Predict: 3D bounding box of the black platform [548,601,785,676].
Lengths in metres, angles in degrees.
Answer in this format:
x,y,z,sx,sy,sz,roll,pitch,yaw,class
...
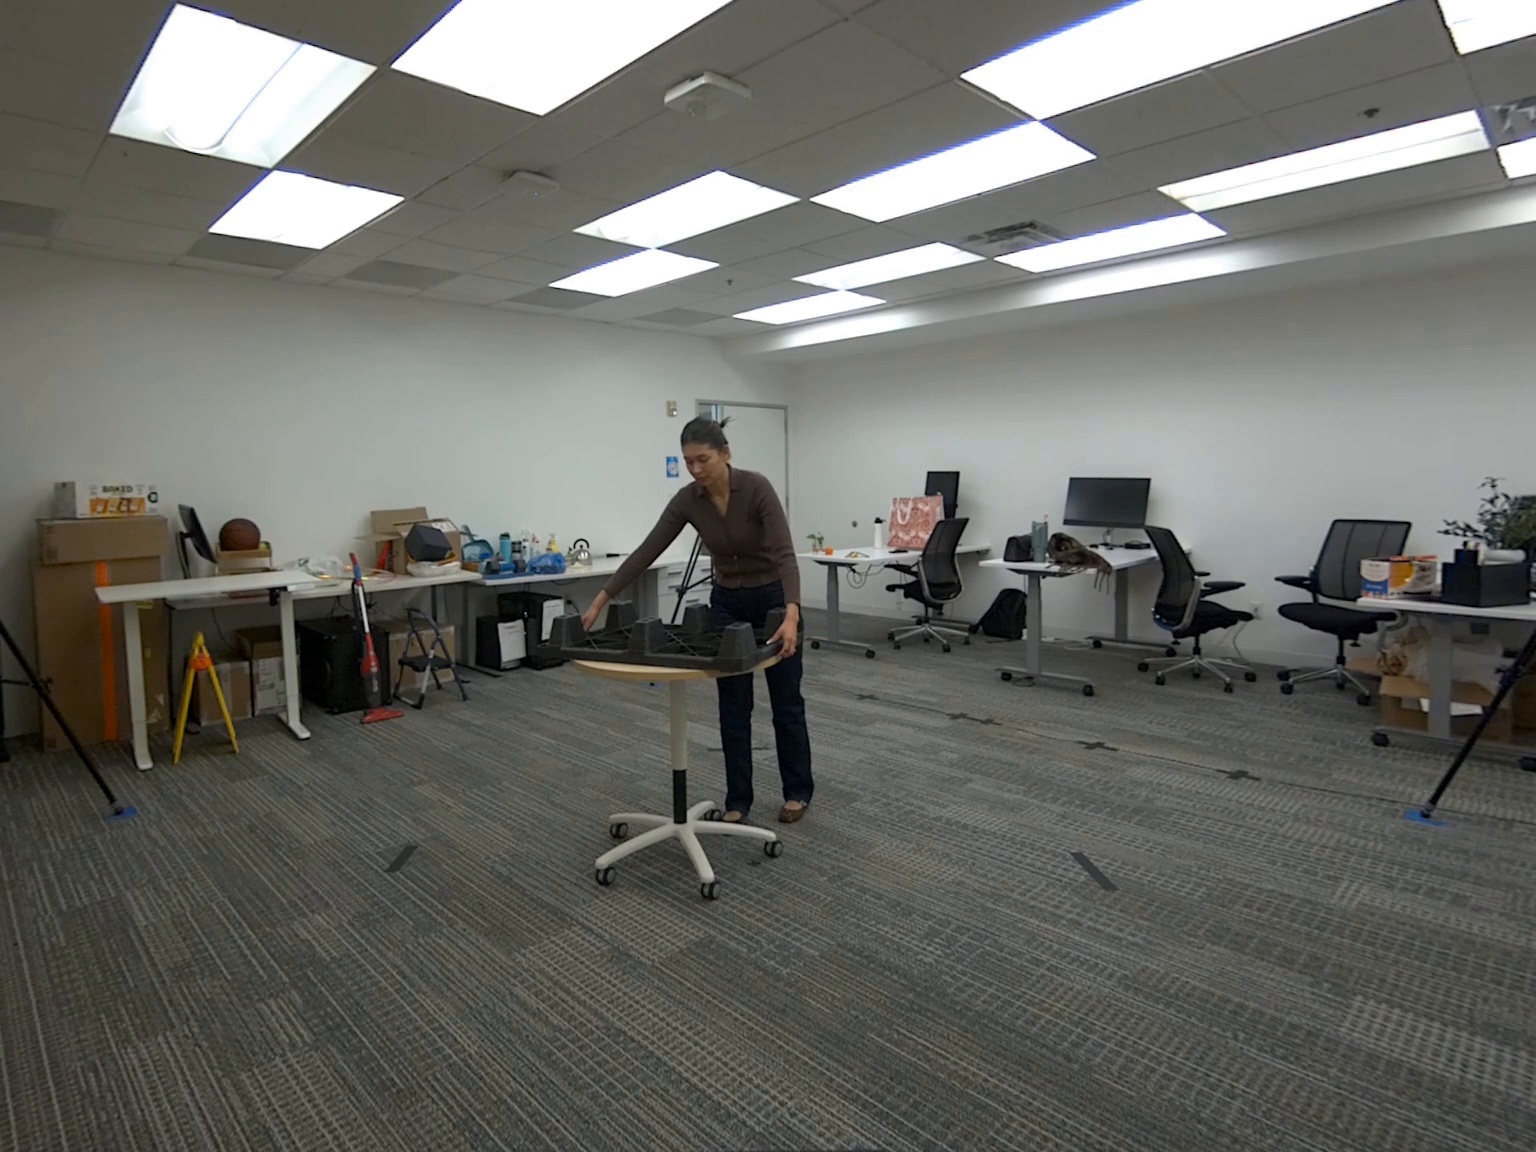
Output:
x,y,z,sx,sy,sz,roll,pitch,yaw,class
-0.331,0.203,3.119,0.824,0.143,0.594,2,7,24,black platform
